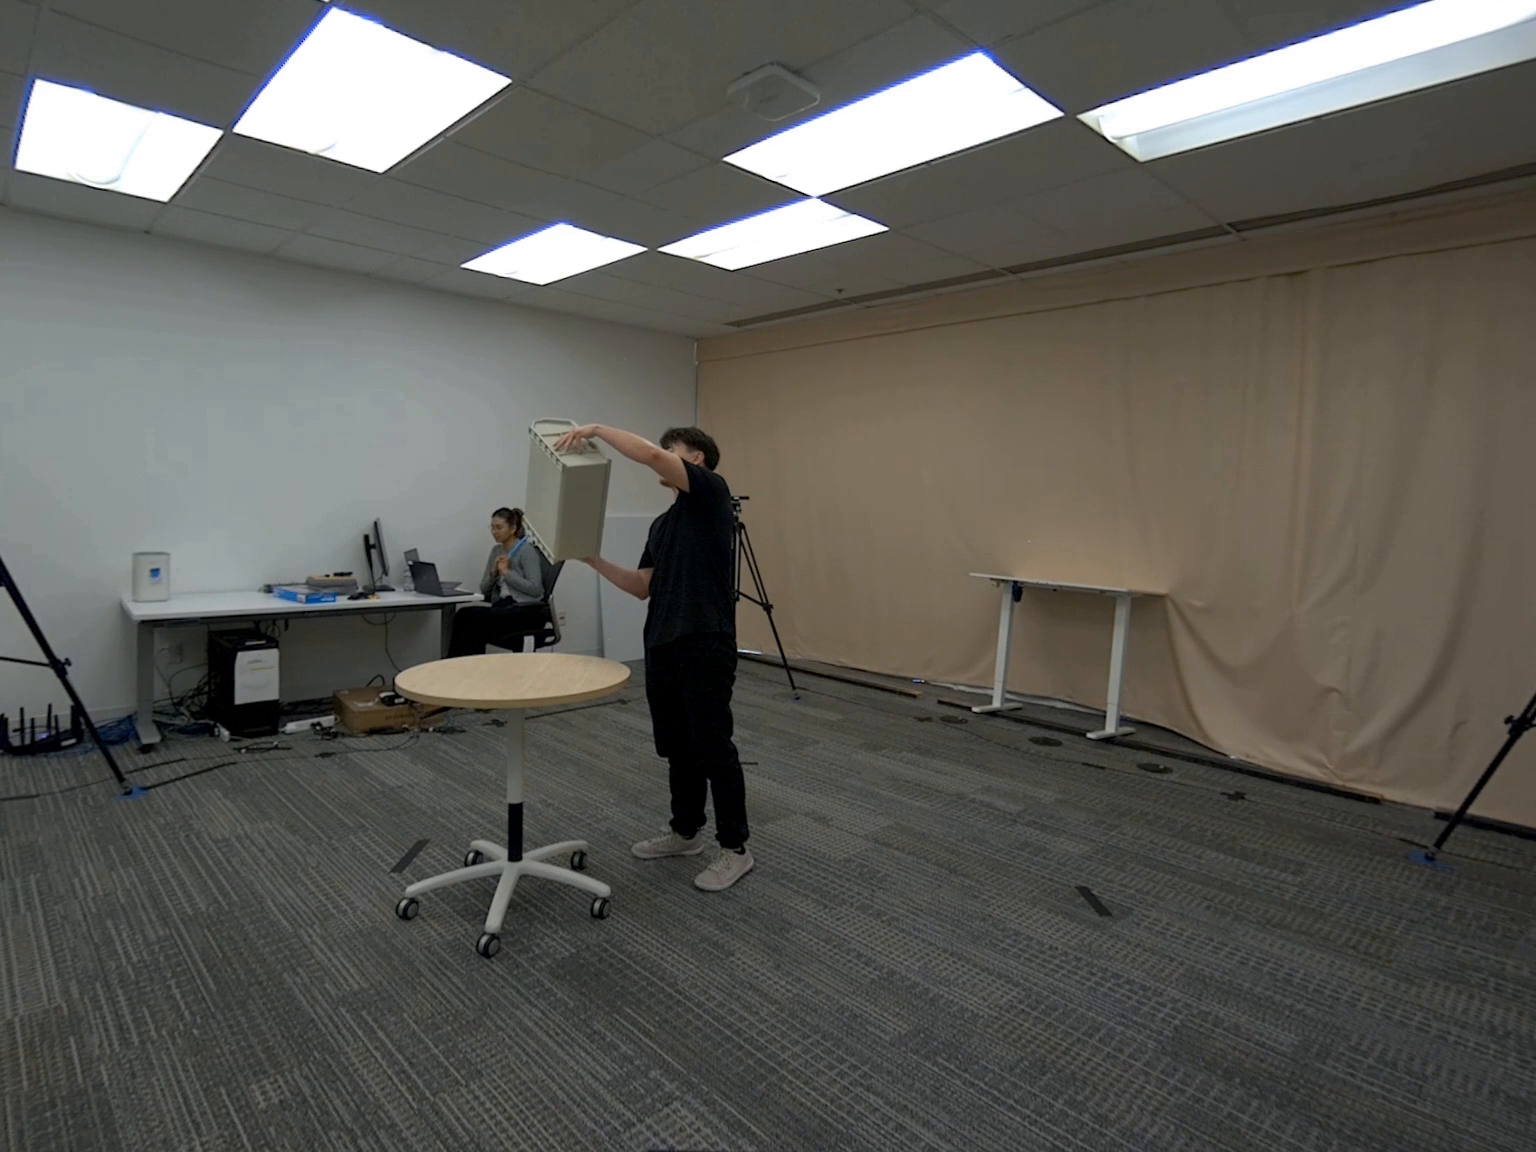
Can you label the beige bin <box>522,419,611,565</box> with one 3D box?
[{"bbox_3d":[-0.766,-0.314,3.112,0.185,0.416,0.390,-8,36,-33],"label":"beige bin"}]
